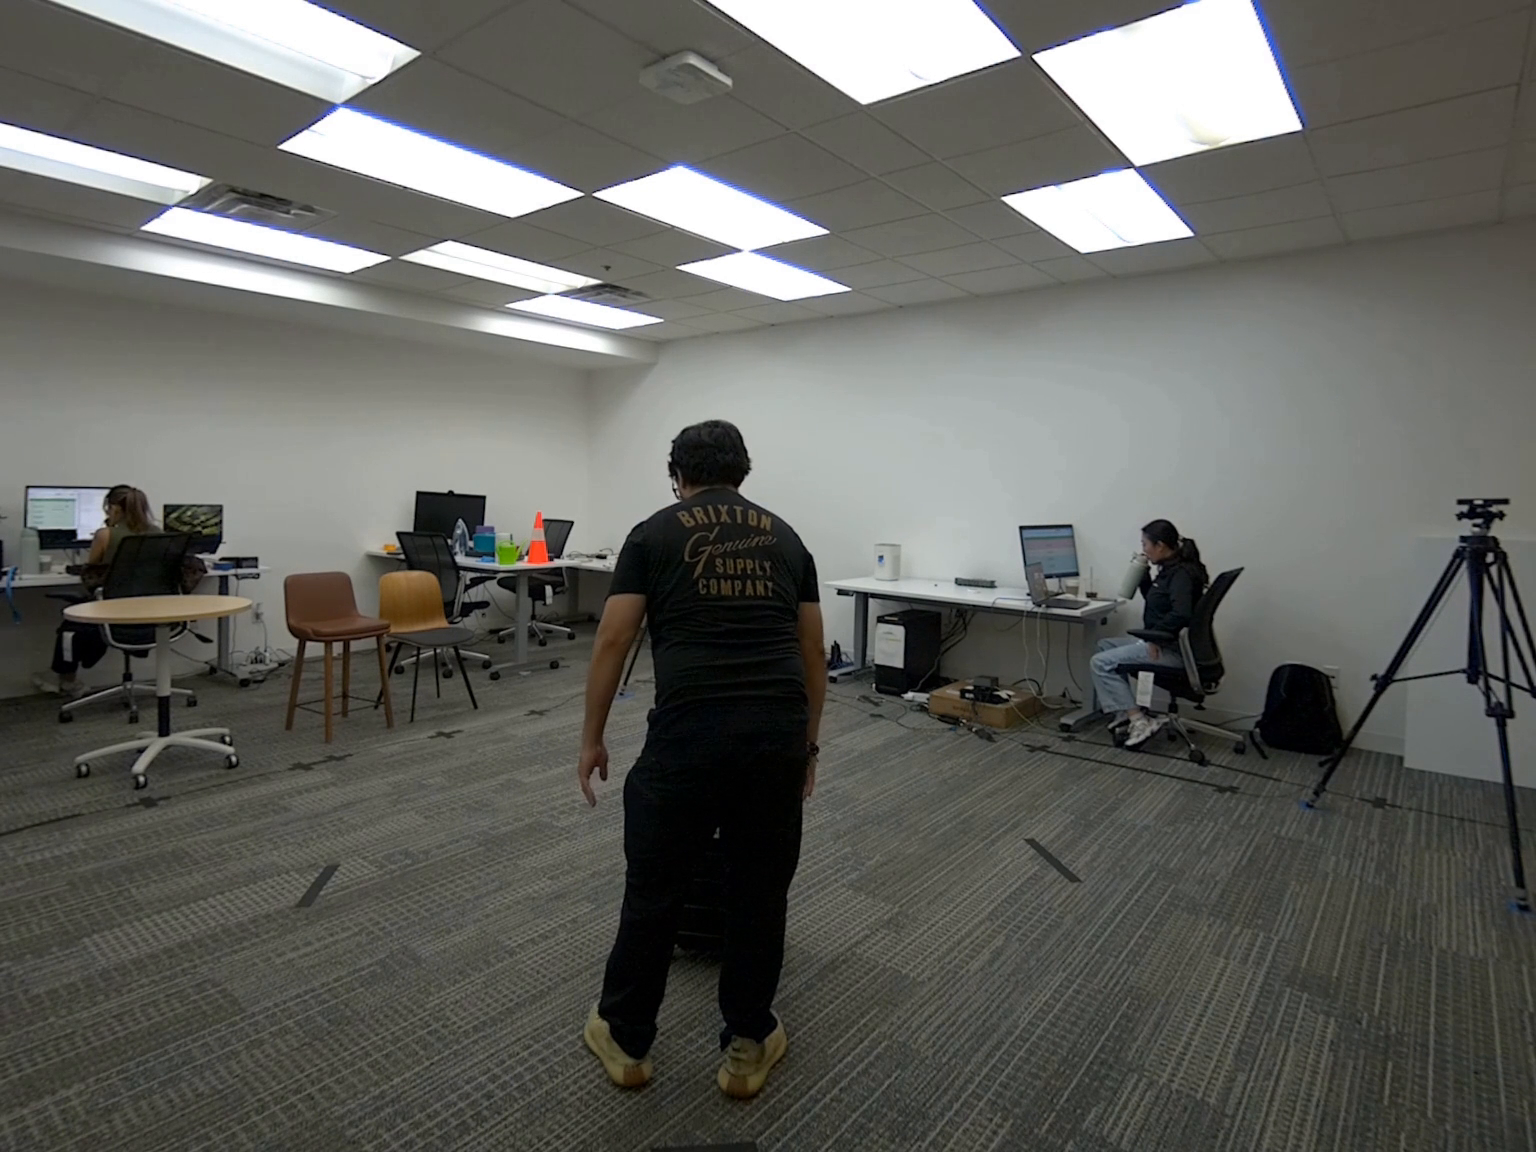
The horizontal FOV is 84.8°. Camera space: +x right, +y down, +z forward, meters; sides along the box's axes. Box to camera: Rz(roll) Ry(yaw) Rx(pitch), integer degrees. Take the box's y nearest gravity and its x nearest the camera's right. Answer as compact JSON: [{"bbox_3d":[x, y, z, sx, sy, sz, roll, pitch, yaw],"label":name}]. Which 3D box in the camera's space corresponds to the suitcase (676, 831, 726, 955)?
[{"bbox_3d":[-0.147,0.844,2.554,0.379,0.547,0.247,2,5,8],"label":"suitcase"}]
